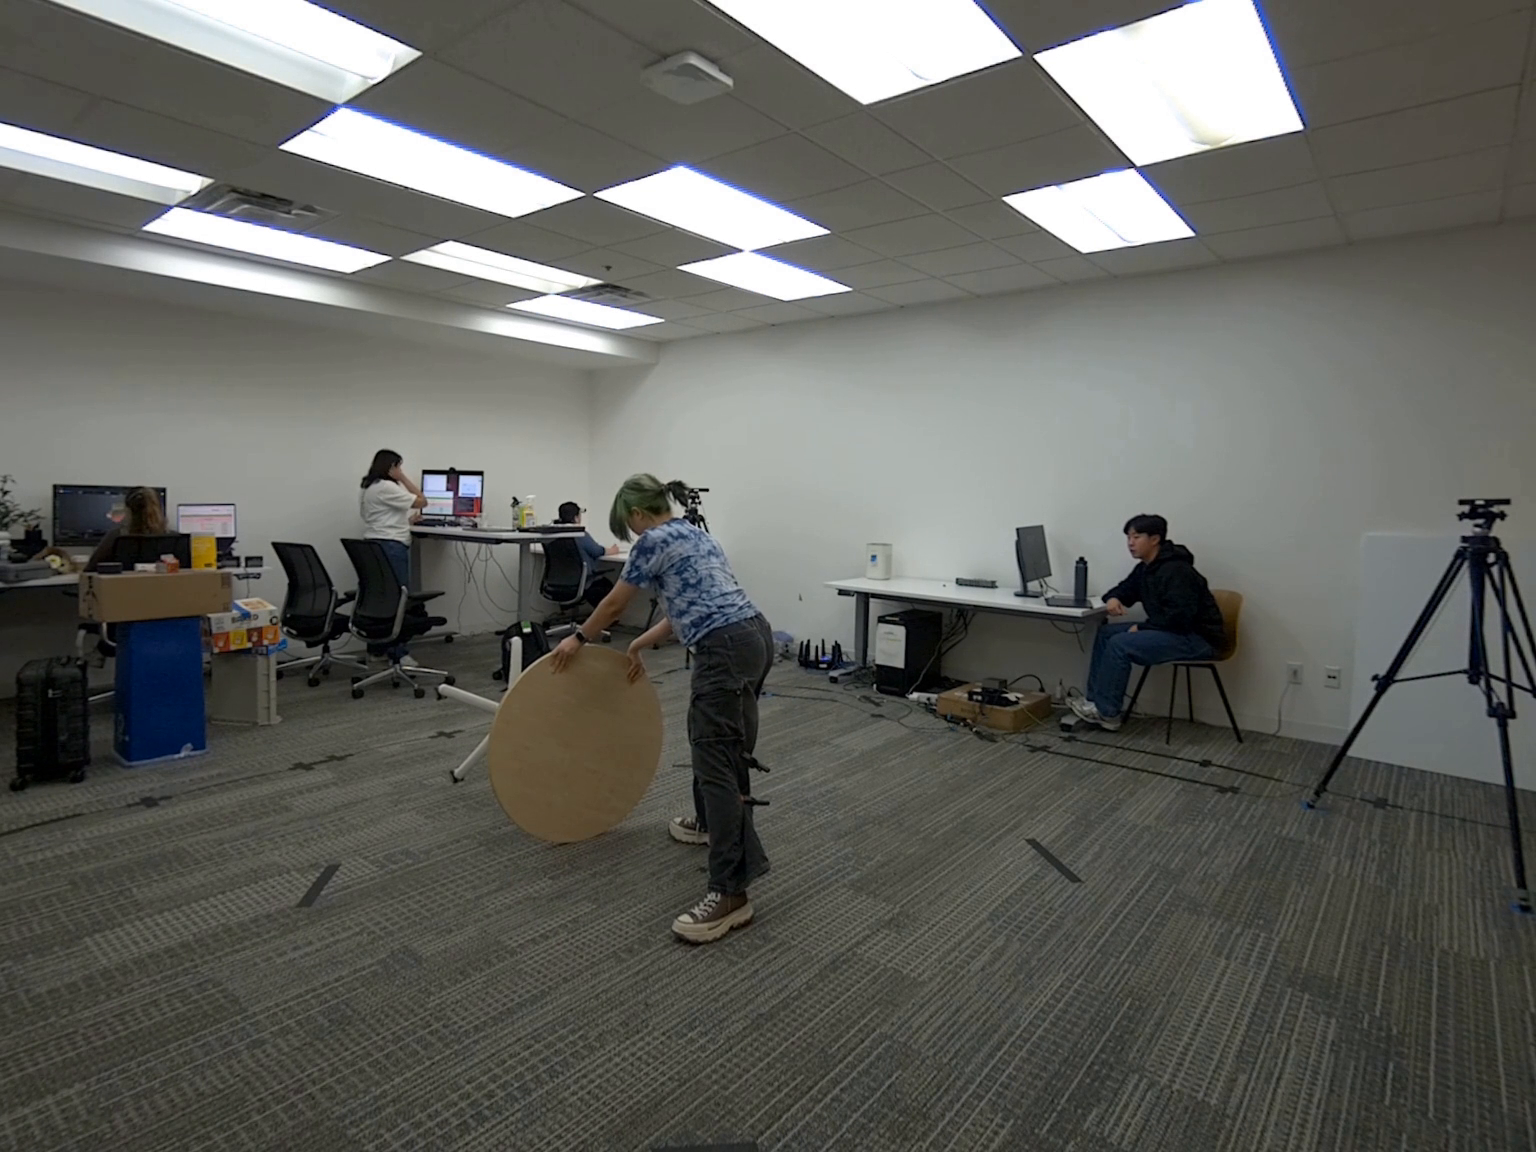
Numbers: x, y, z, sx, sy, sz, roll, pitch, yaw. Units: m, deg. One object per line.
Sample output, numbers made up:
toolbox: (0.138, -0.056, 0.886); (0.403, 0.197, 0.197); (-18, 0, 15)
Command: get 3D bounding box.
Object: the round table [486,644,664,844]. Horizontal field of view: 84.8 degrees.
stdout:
round table: (-1.002, 0.650, 3.669); (0.741, 0.764, 0.818); (-2, 1, -39)
